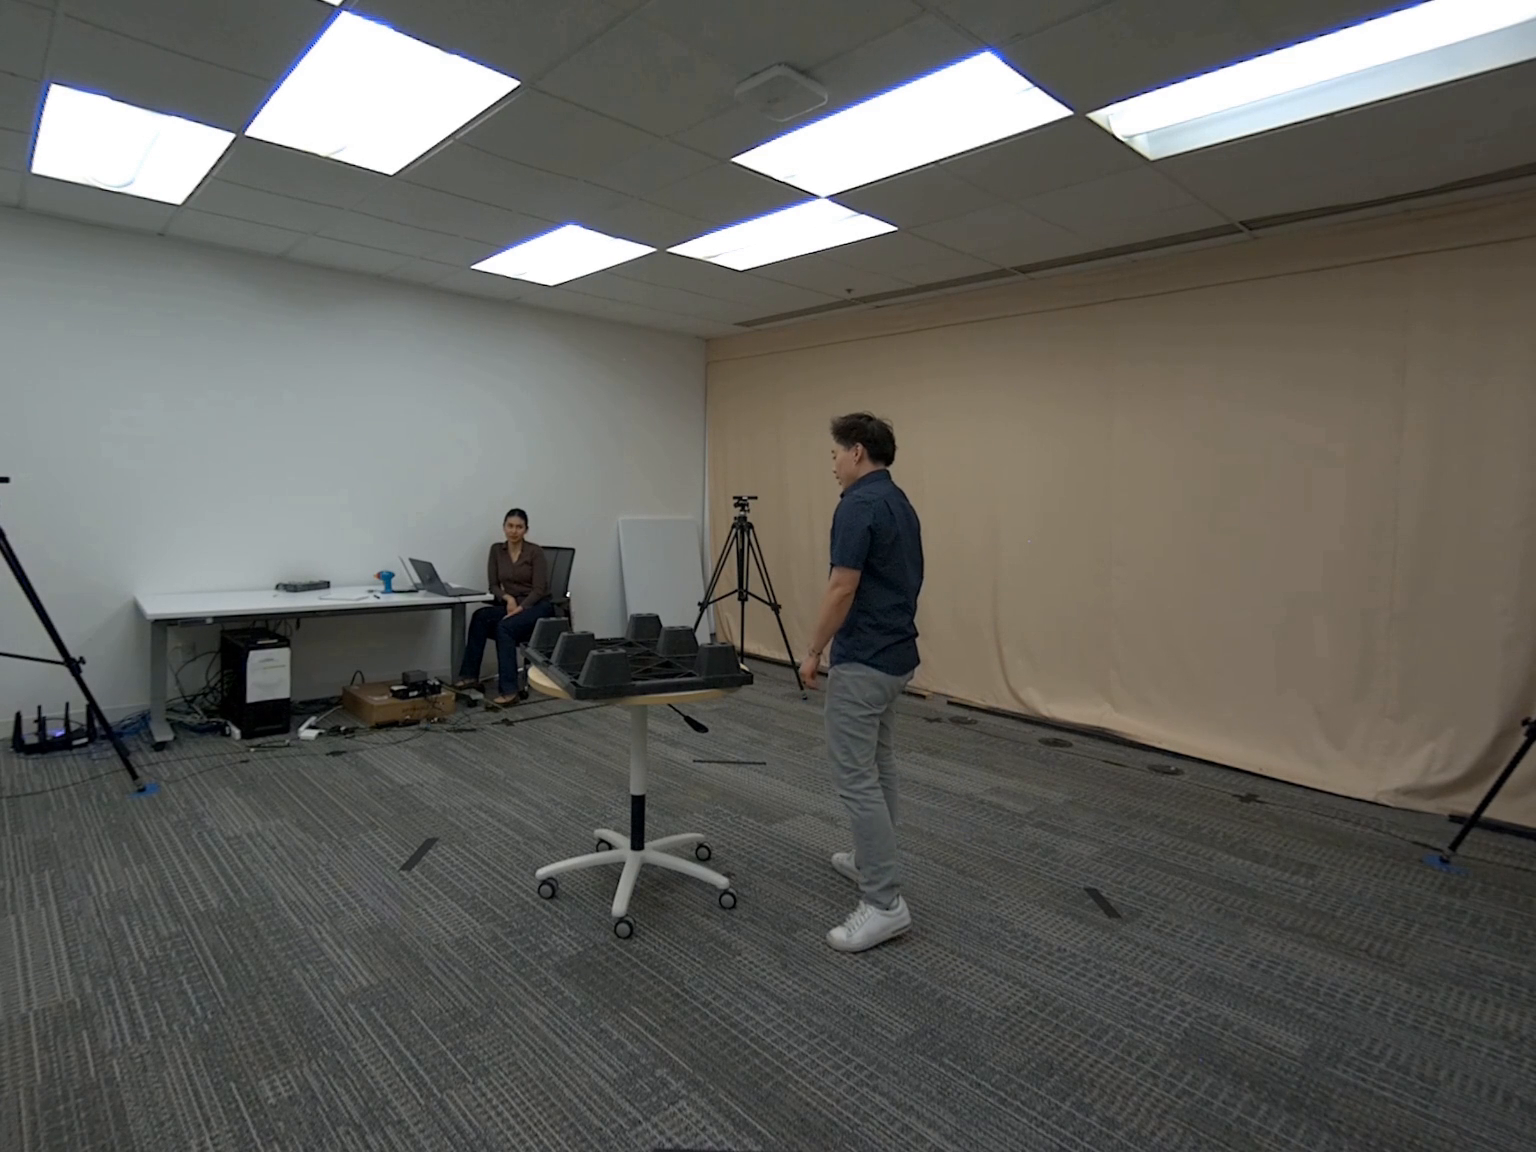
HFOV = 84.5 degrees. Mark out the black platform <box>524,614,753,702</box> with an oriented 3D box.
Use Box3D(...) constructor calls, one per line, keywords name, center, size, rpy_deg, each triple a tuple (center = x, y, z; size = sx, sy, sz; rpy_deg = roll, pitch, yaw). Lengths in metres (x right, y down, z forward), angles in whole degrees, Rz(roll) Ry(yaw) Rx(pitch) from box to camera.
Box3D(name="black platform", center=(-0.500, 0.260, 2.962), size=(0.593, 0.143, 0.824), rpy_deg=(-1, 6, -28))
